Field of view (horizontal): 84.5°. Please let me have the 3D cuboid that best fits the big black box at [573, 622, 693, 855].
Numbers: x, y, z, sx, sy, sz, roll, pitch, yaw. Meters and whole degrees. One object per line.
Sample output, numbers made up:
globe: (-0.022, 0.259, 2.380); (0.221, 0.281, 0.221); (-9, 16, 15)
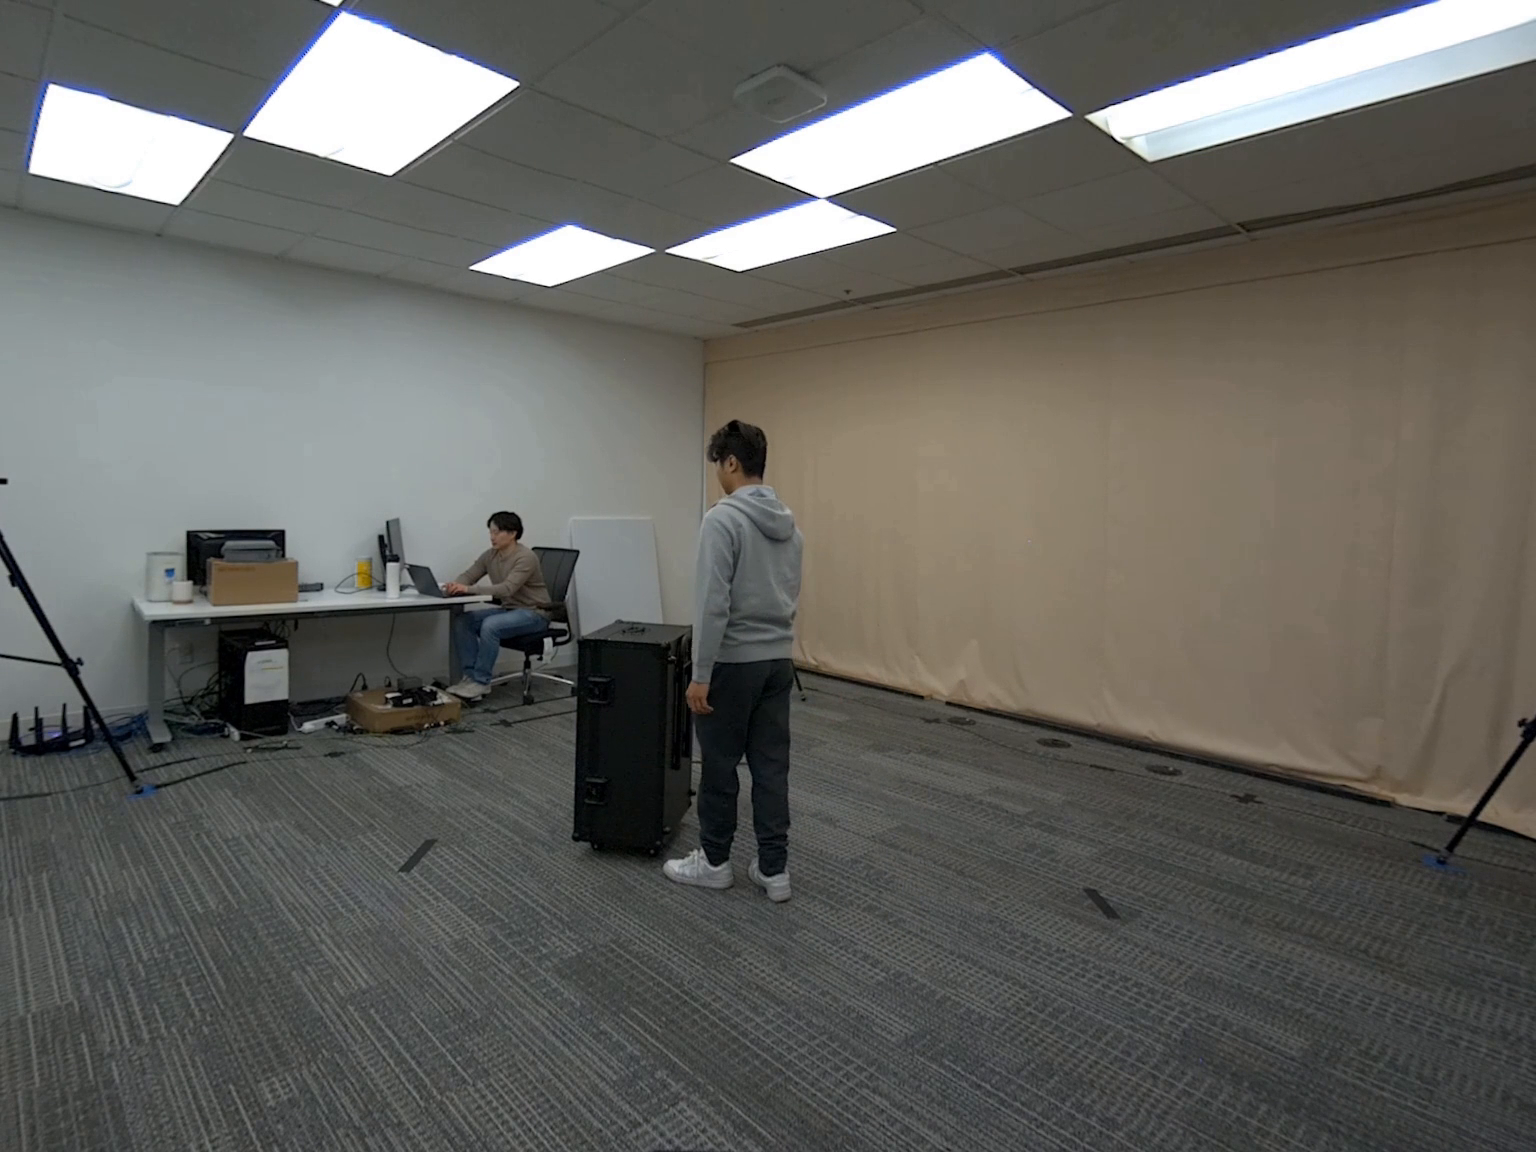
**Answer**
big black box: (-0.520, 0.646, 3.404); (0.400, 0.859, 0.518); (4, 4, 9)
